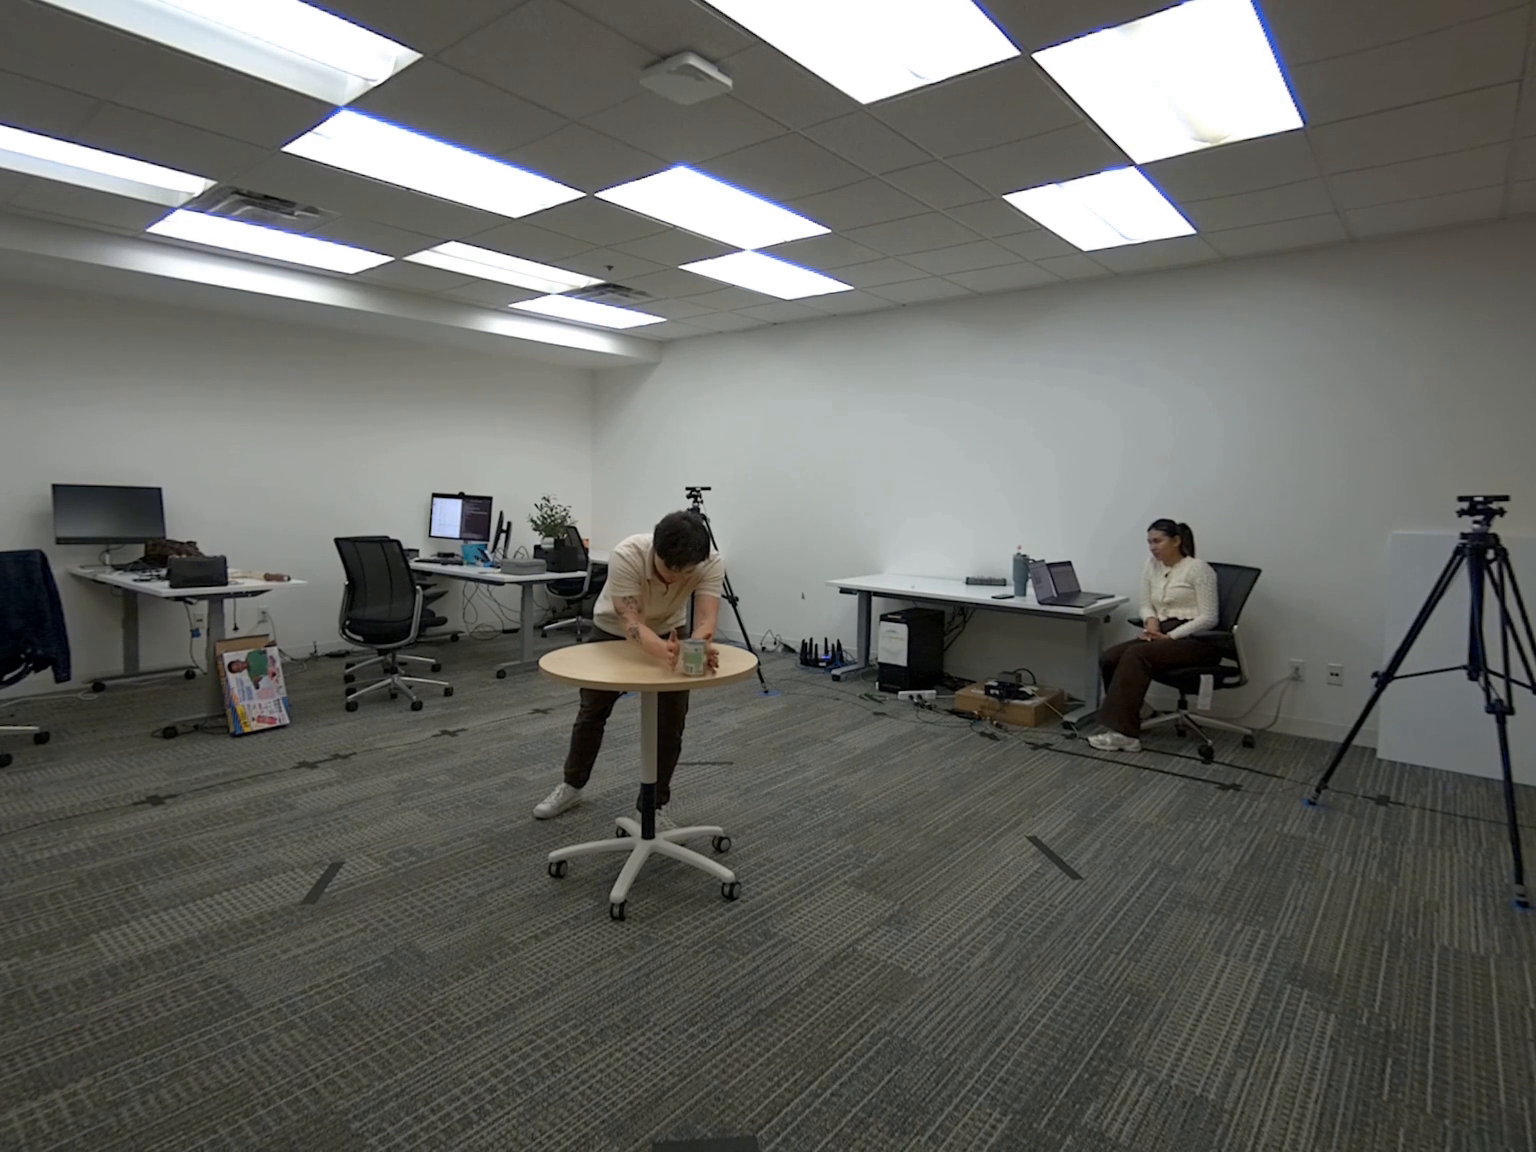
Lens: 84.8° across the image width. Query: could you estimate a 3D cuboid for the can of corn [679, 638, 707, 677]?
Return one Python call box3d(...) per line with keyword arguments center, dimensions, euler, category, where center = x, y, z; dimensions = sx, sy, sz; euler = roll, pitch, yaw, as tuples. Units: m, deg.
box3d(center=(-0.251, 0.267, 2.762), dimensions=(0.074, 0.111, 0.074), euler=(0, 1, -2), category="can of corn")
